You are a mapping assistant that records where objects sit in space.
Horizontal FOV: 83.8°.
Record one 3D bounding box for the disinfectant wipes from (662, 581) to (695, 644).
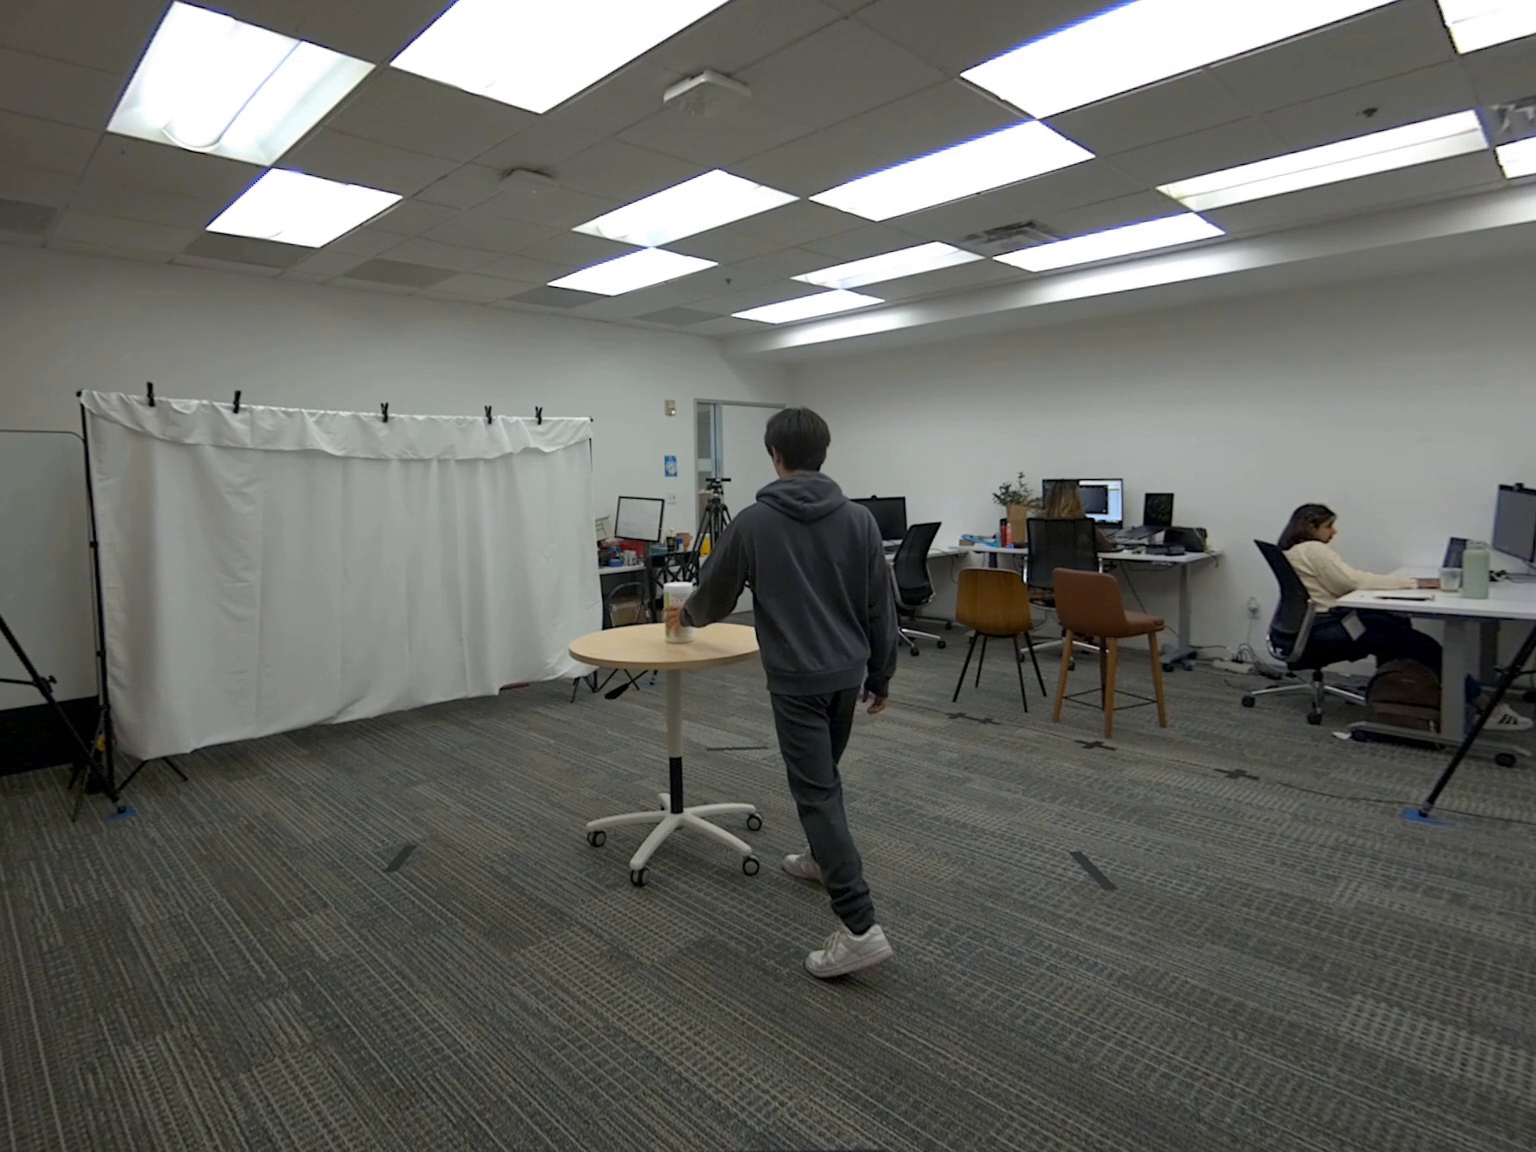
[{"bbox_3d":[-0.326,0.135,3.164,0.118,0.217,0.118,-3,3,-1],"label":"disinfectant wipes"}]
